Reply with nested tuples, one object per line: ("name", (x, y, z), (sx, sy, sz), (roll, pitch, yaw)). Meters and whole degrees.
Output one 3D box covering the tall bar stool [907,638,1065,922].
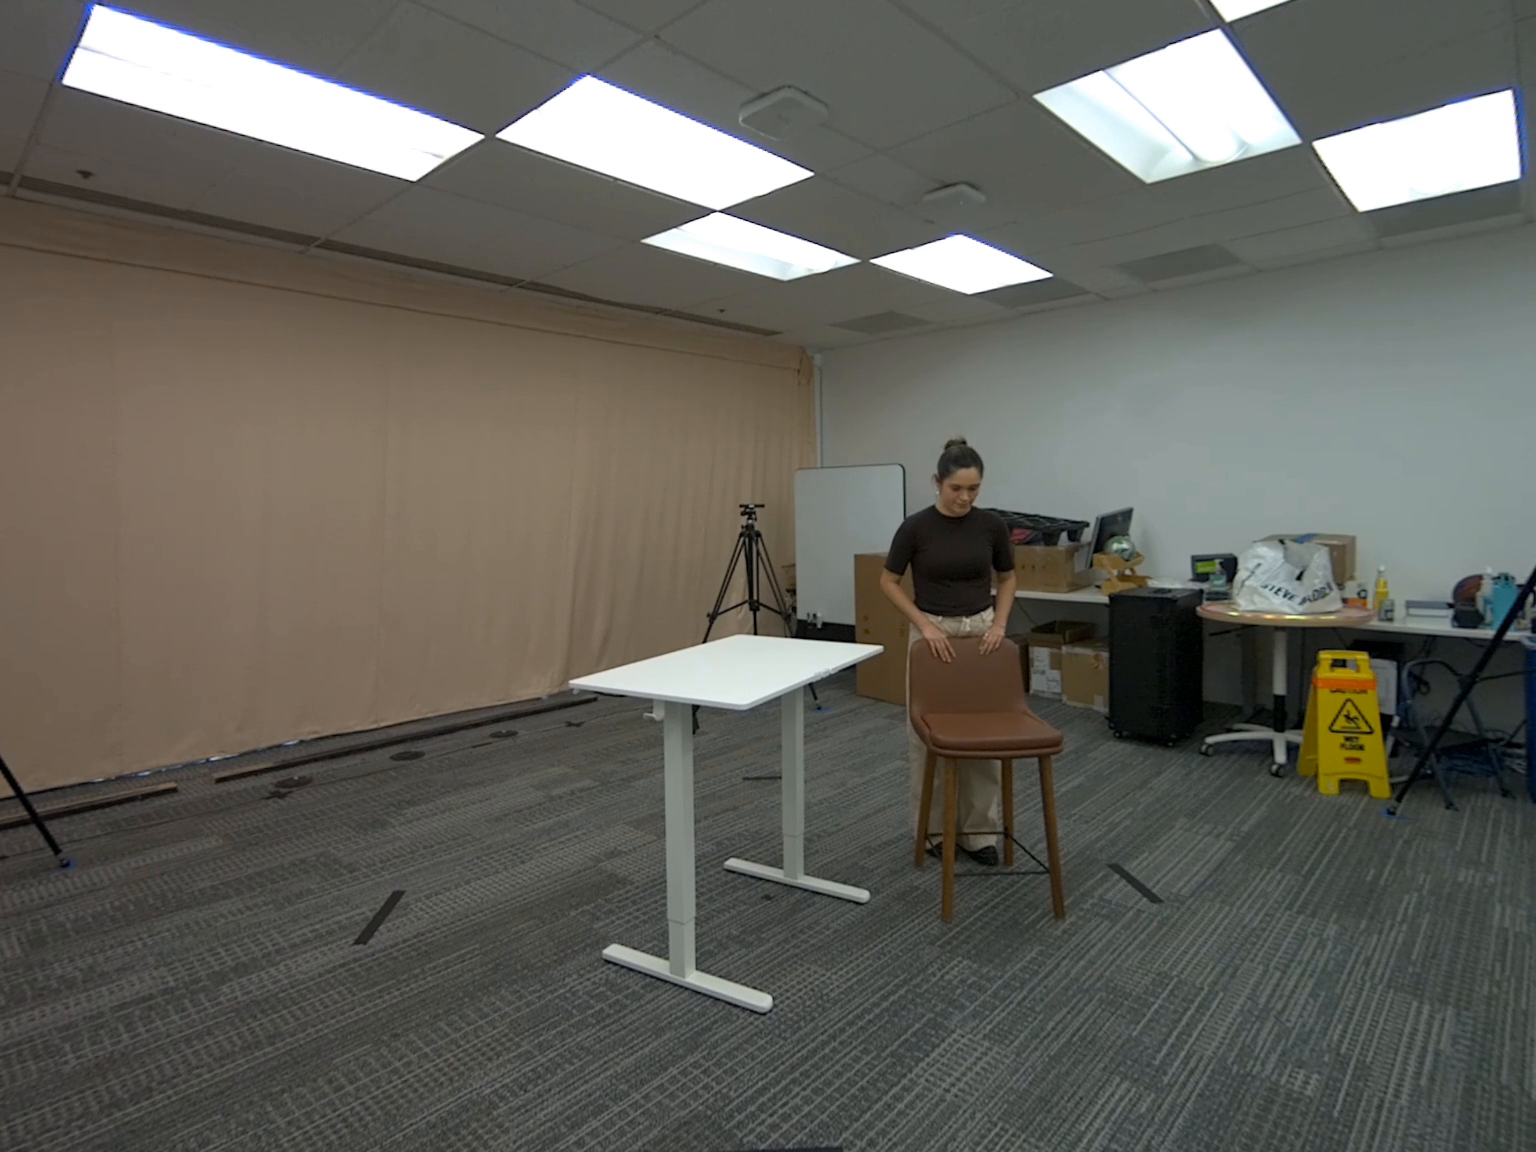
("tall bar stool", (0.763, 0.690, 2.995), (0.456, 0.889, 0.469), (0, 2, -3))
